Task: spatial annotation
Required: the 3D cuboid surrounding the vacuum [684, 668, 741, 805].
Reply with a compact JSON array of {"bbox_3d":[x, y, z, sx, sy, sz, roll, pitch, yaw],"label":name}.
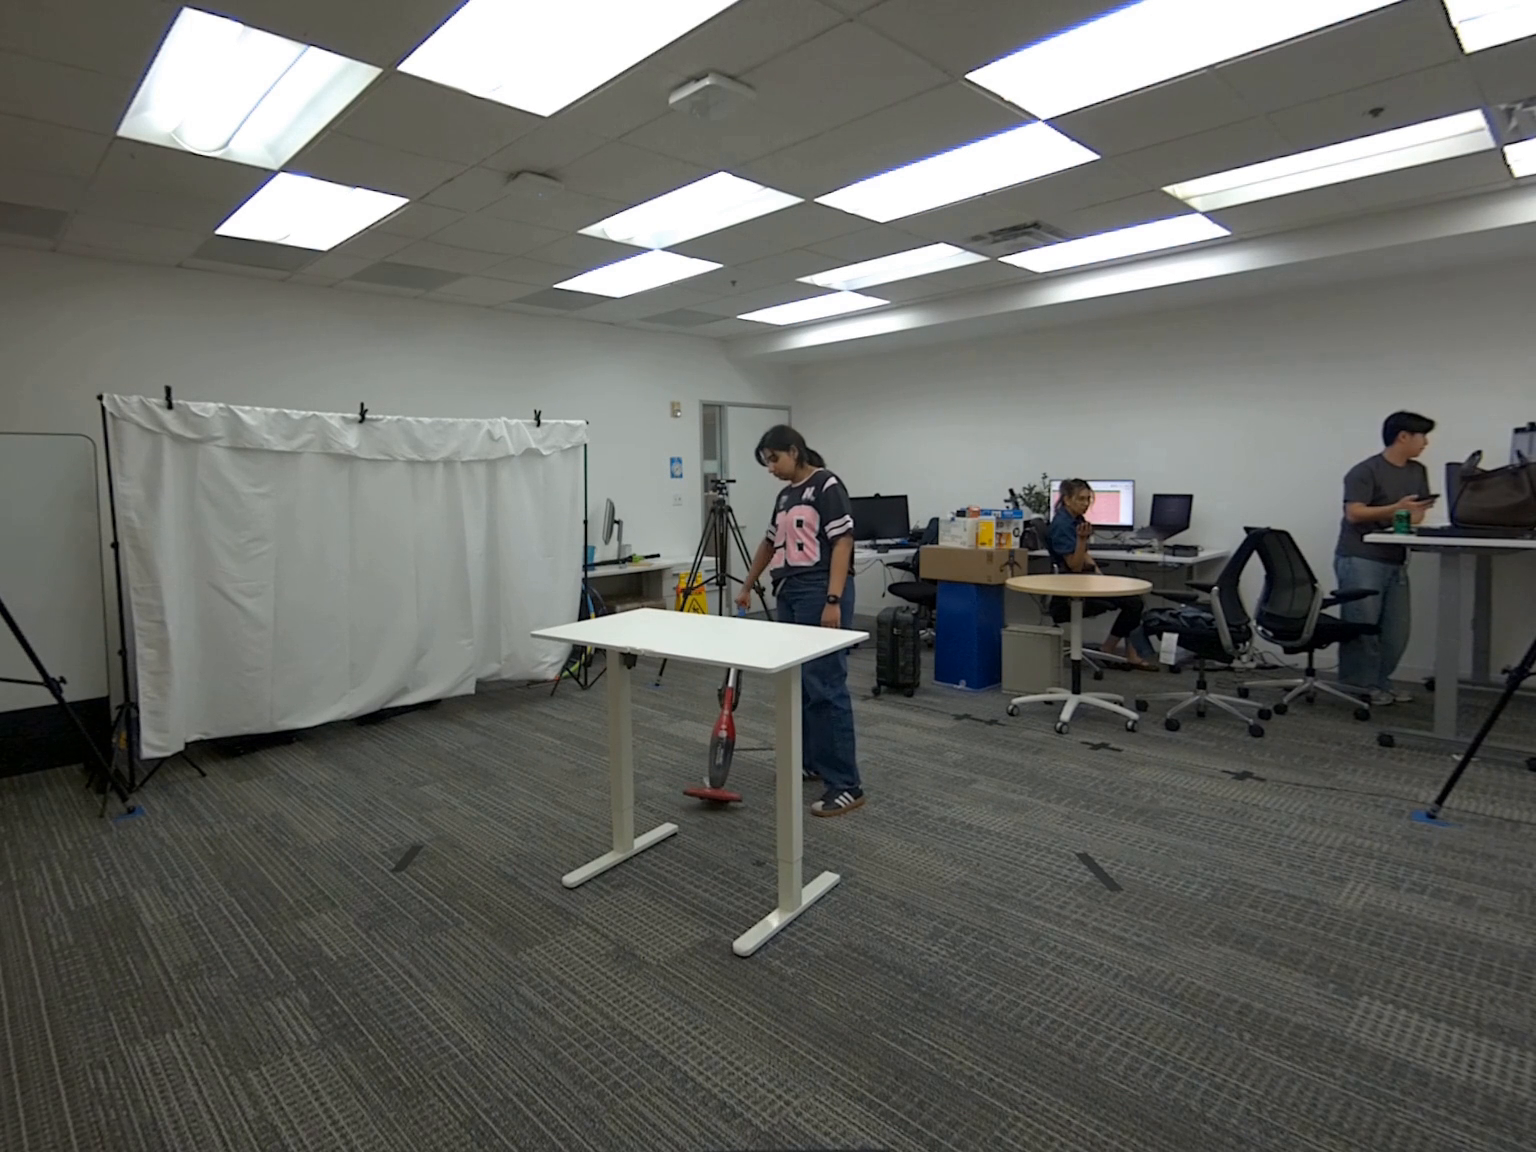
[{"bbox_3d":[-0.172,0.541,3.981,0.254,1.072,0.140,3,-37,6],"label":"vacuum"}]
